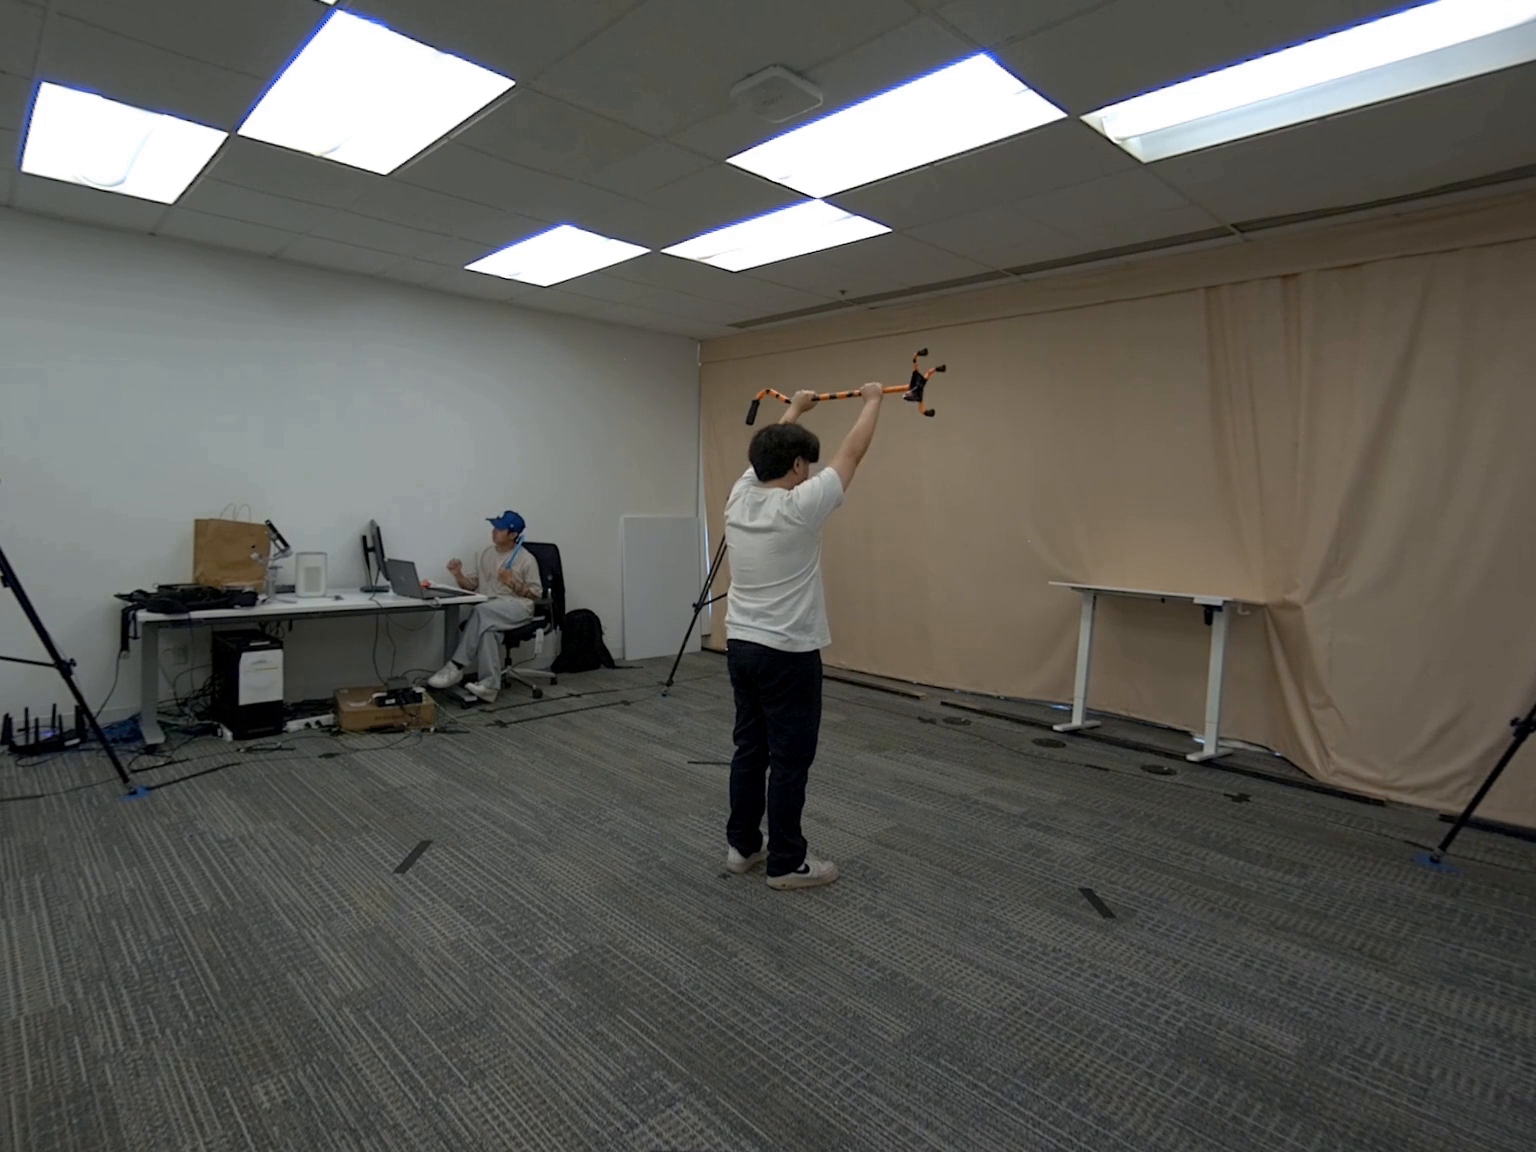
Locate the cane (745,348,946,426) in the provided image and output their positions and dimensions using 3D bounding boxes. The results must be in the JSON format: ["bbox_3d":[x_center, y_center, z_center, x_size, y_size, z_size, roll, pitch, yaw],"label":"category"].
[{"bbox_3d":[0.247,-0.715,3.311,0.931,0.207,0.147,6,-16,46],"label":"cane"}]
